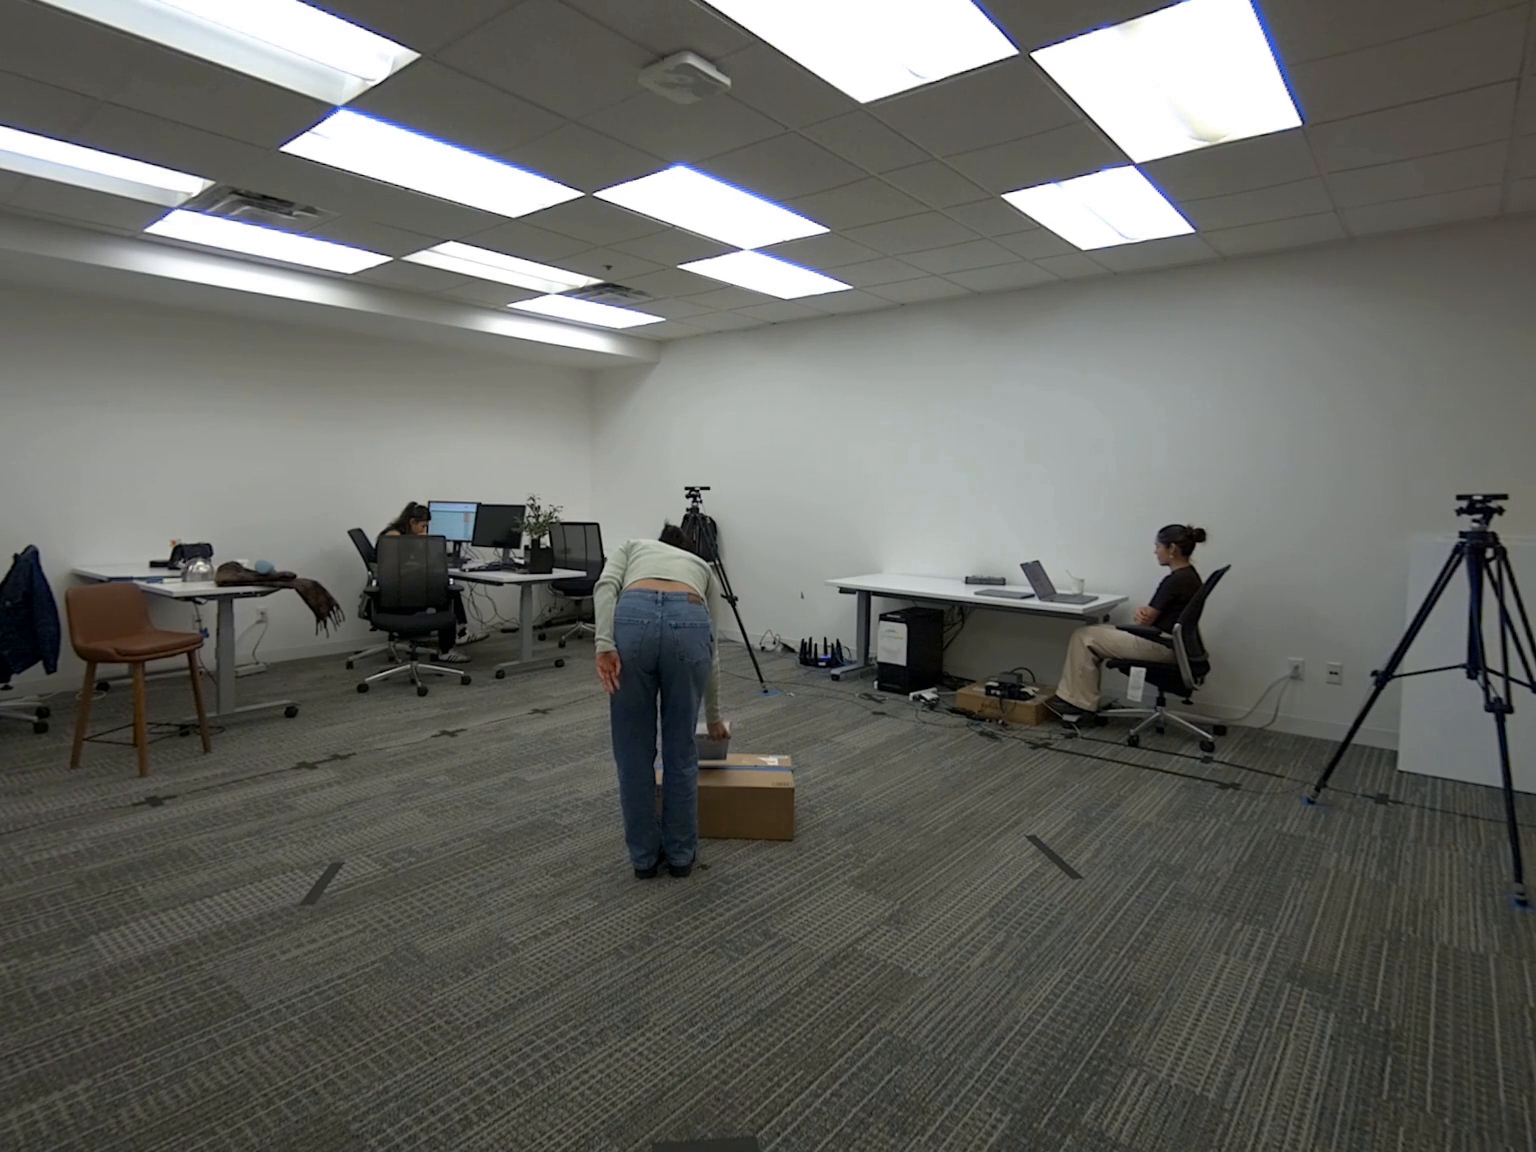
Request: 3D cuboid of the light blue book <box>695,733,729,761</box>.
[{"bbox_3d":[-0.265,0.675,3.507,0.190,0.061,0.255,2,-36,-7],"label":"light blue book"}]
